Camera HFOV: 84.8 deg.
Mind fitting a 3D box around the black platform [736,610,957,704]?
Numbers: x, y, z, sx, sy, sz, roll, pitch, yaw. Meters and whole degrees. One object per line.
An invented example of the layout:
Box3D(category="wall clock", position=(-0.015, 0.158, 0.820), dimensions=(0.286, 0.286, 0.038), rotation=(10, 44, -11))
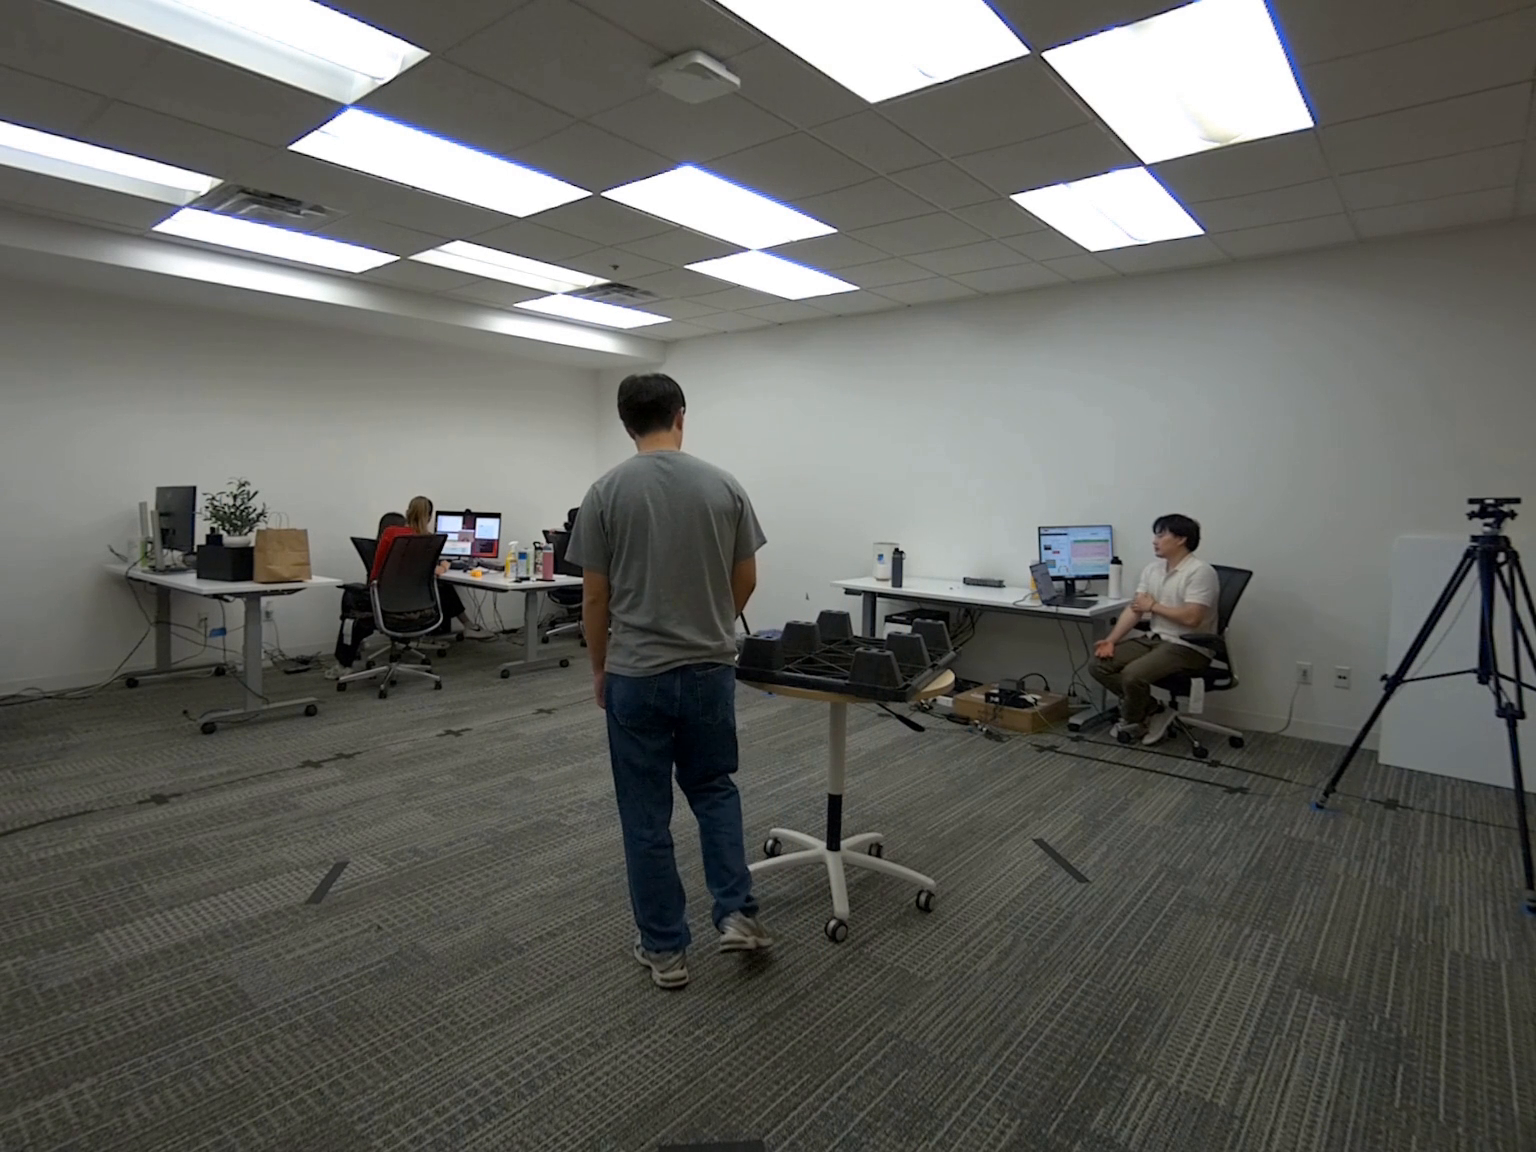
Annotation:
Box3D(category="black platform", position=(0.281, 0.246, 2.946), dimensions=(0.621, 0.142, 0.788), rotation=(5, 7, 25))
